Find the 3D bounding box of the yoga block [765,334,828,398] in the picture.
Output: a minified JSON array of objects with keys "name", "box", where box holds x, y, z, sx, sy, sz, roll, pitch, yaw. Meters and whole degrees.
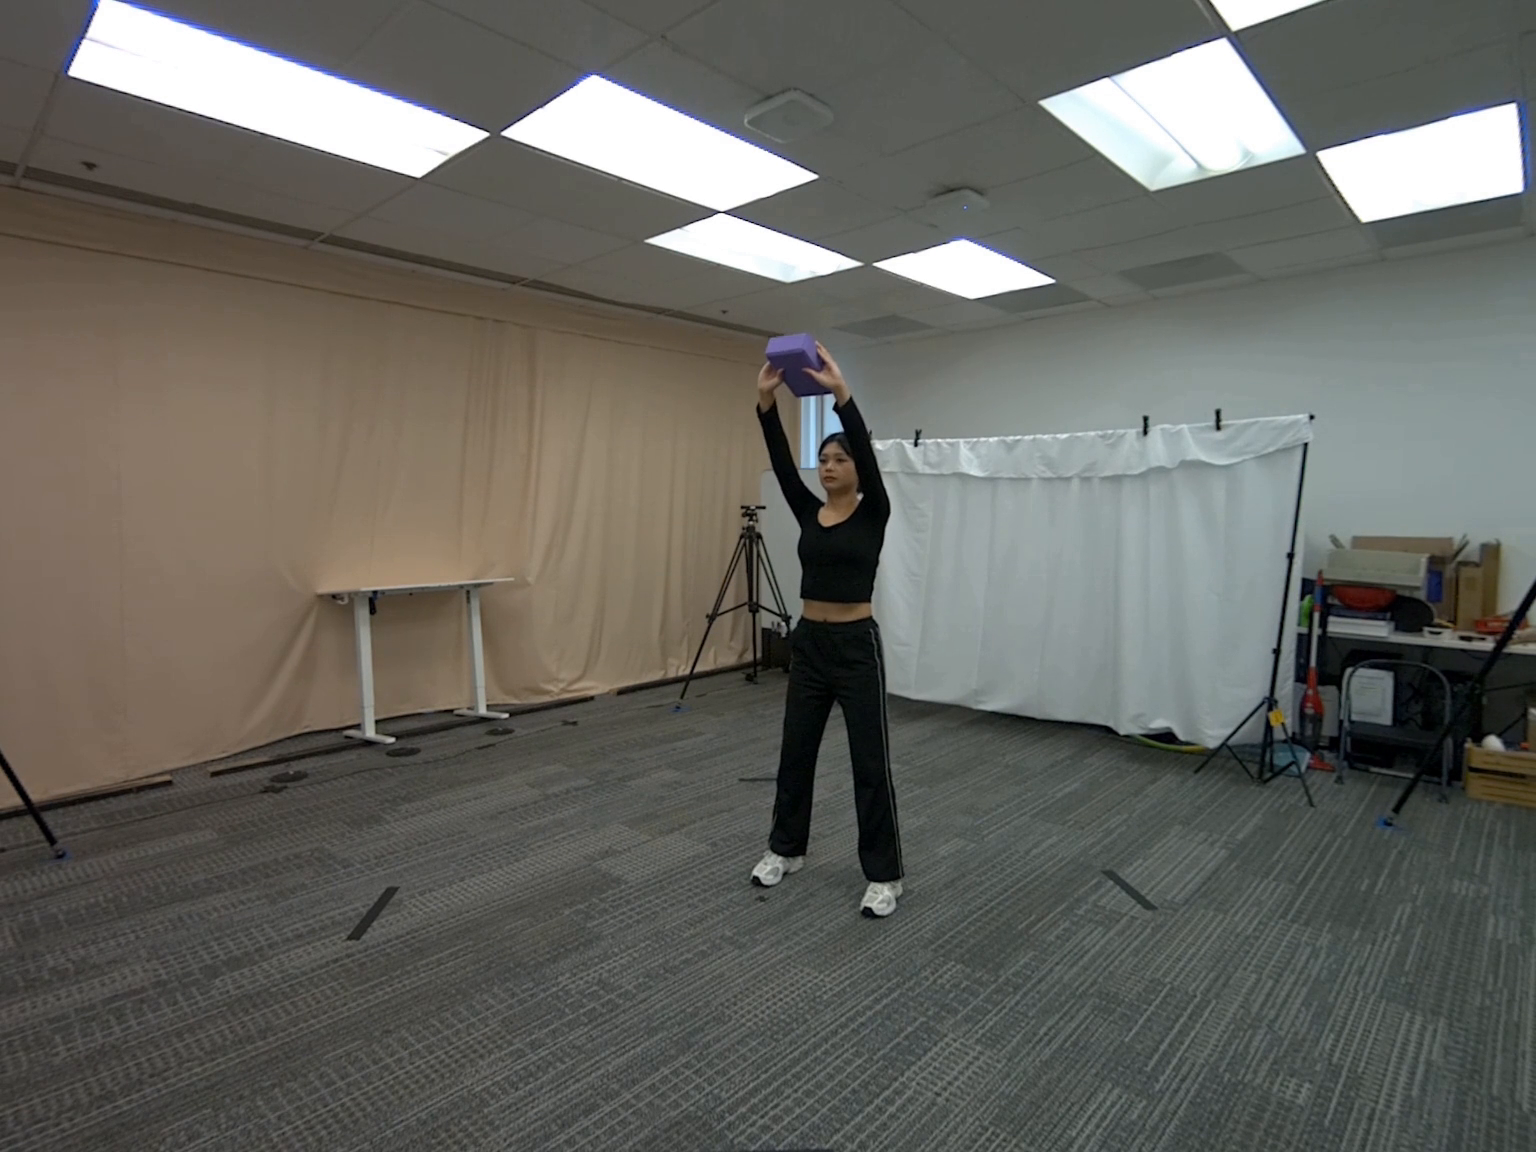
[{"name":"yoga block","box":[0.115,-0.679,2.718,0.153,0.077,0.221,2,-27,35]}]
